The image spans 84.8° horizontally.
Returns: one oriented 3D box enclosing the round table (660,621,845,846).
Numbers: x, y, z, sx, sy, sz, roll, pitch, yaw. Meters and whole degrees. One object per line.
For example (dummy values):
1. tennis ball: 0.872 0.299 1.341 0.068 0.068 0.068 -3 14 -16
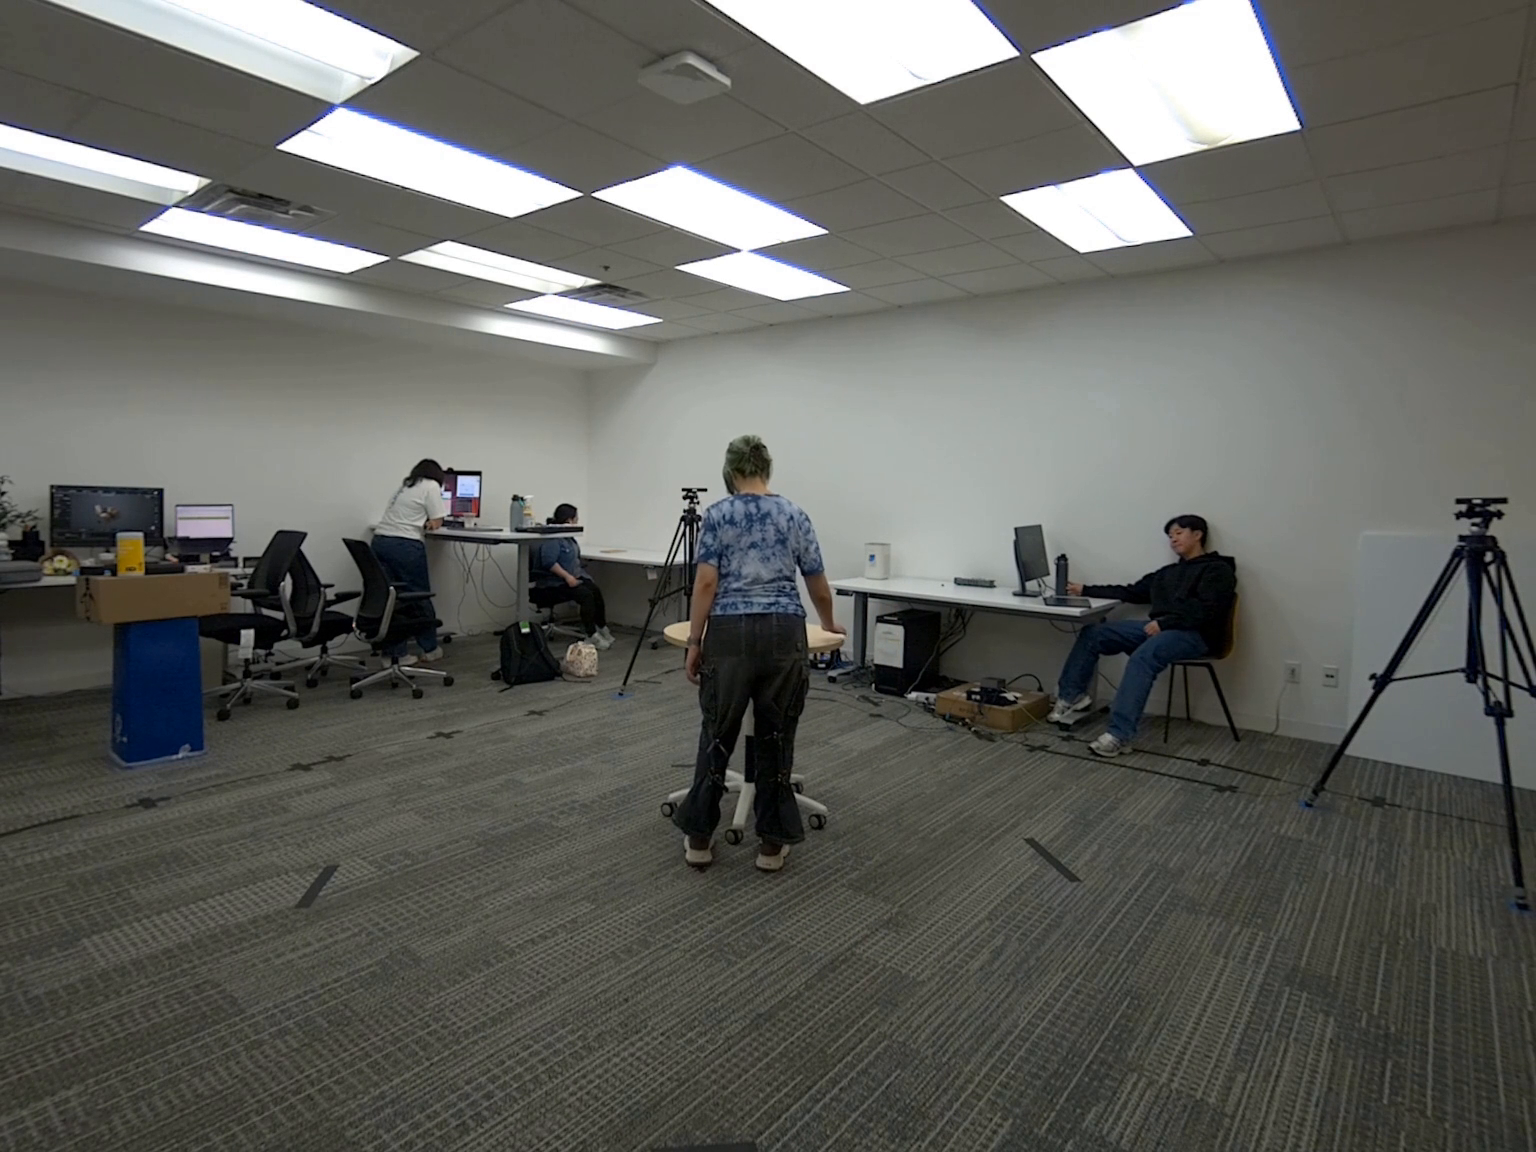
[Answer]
1. round table: -0.069 0.625 3.628 0.784 0.784 0.789 1 4 -2
